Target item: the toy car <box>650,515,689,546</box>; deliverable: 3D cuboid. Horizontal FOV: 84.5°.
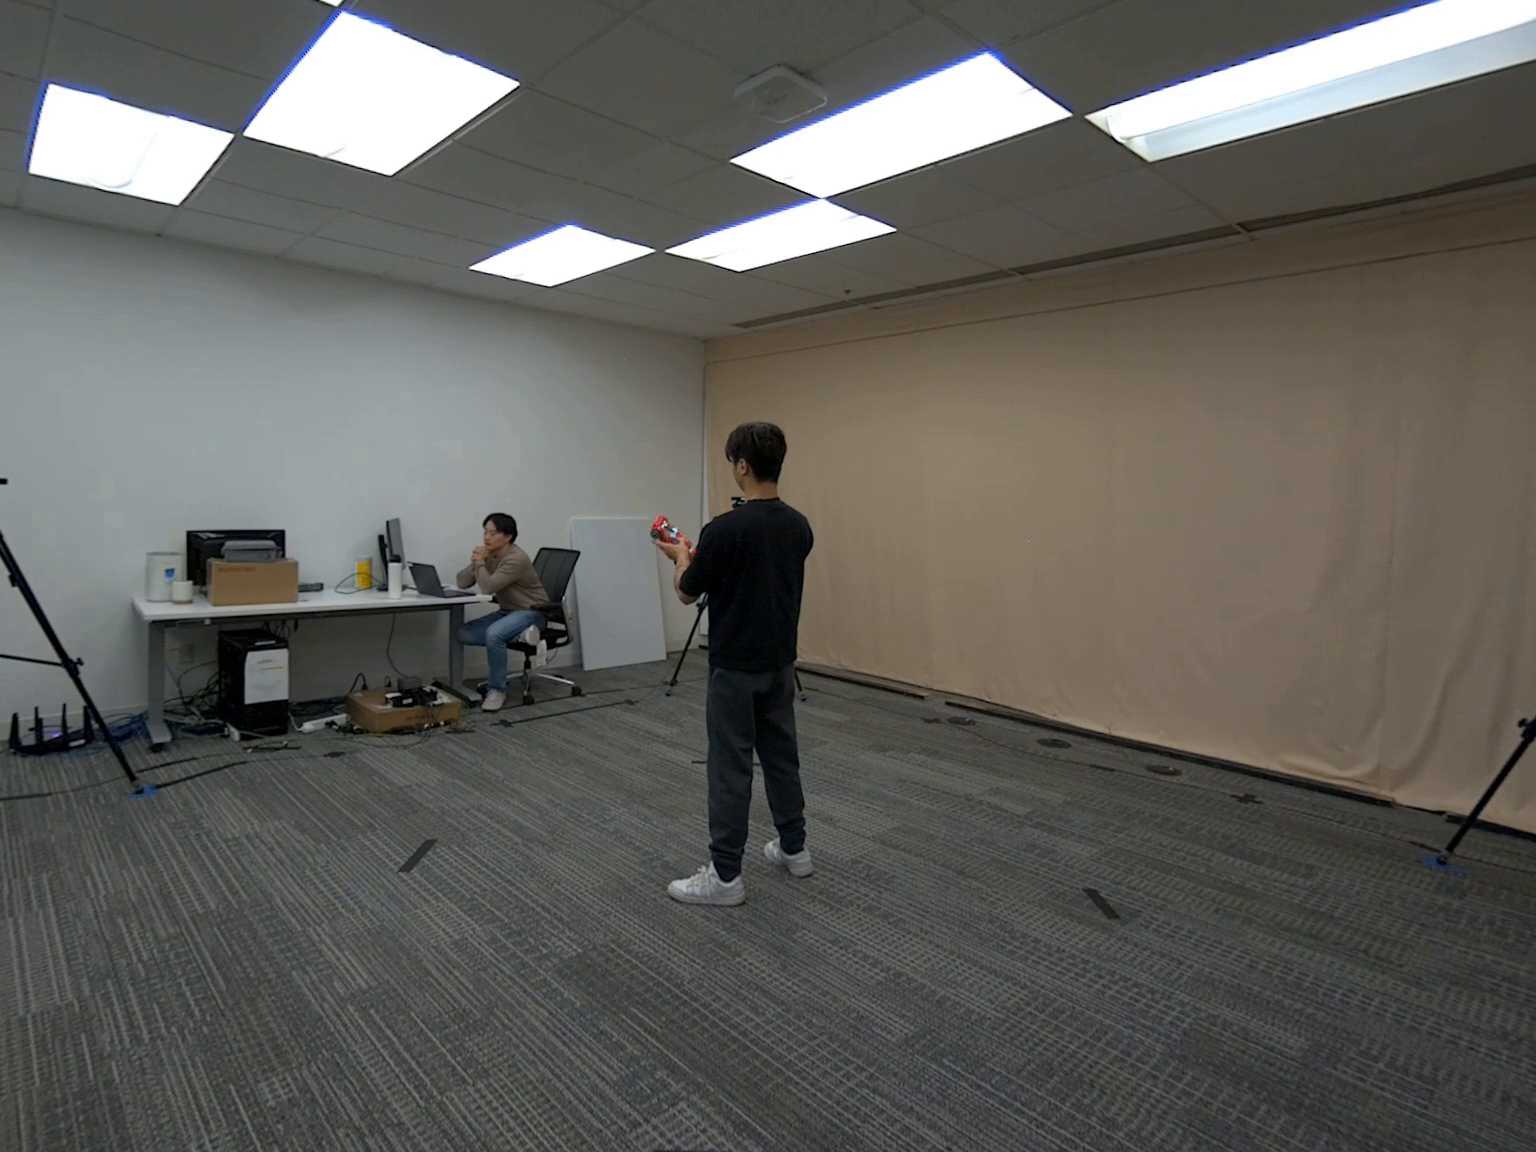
[{"bbox_3d":[-0.359,-0.120,3.253,0.252,0.083,0.131,40,28,-10],"label":"toy car"}]
